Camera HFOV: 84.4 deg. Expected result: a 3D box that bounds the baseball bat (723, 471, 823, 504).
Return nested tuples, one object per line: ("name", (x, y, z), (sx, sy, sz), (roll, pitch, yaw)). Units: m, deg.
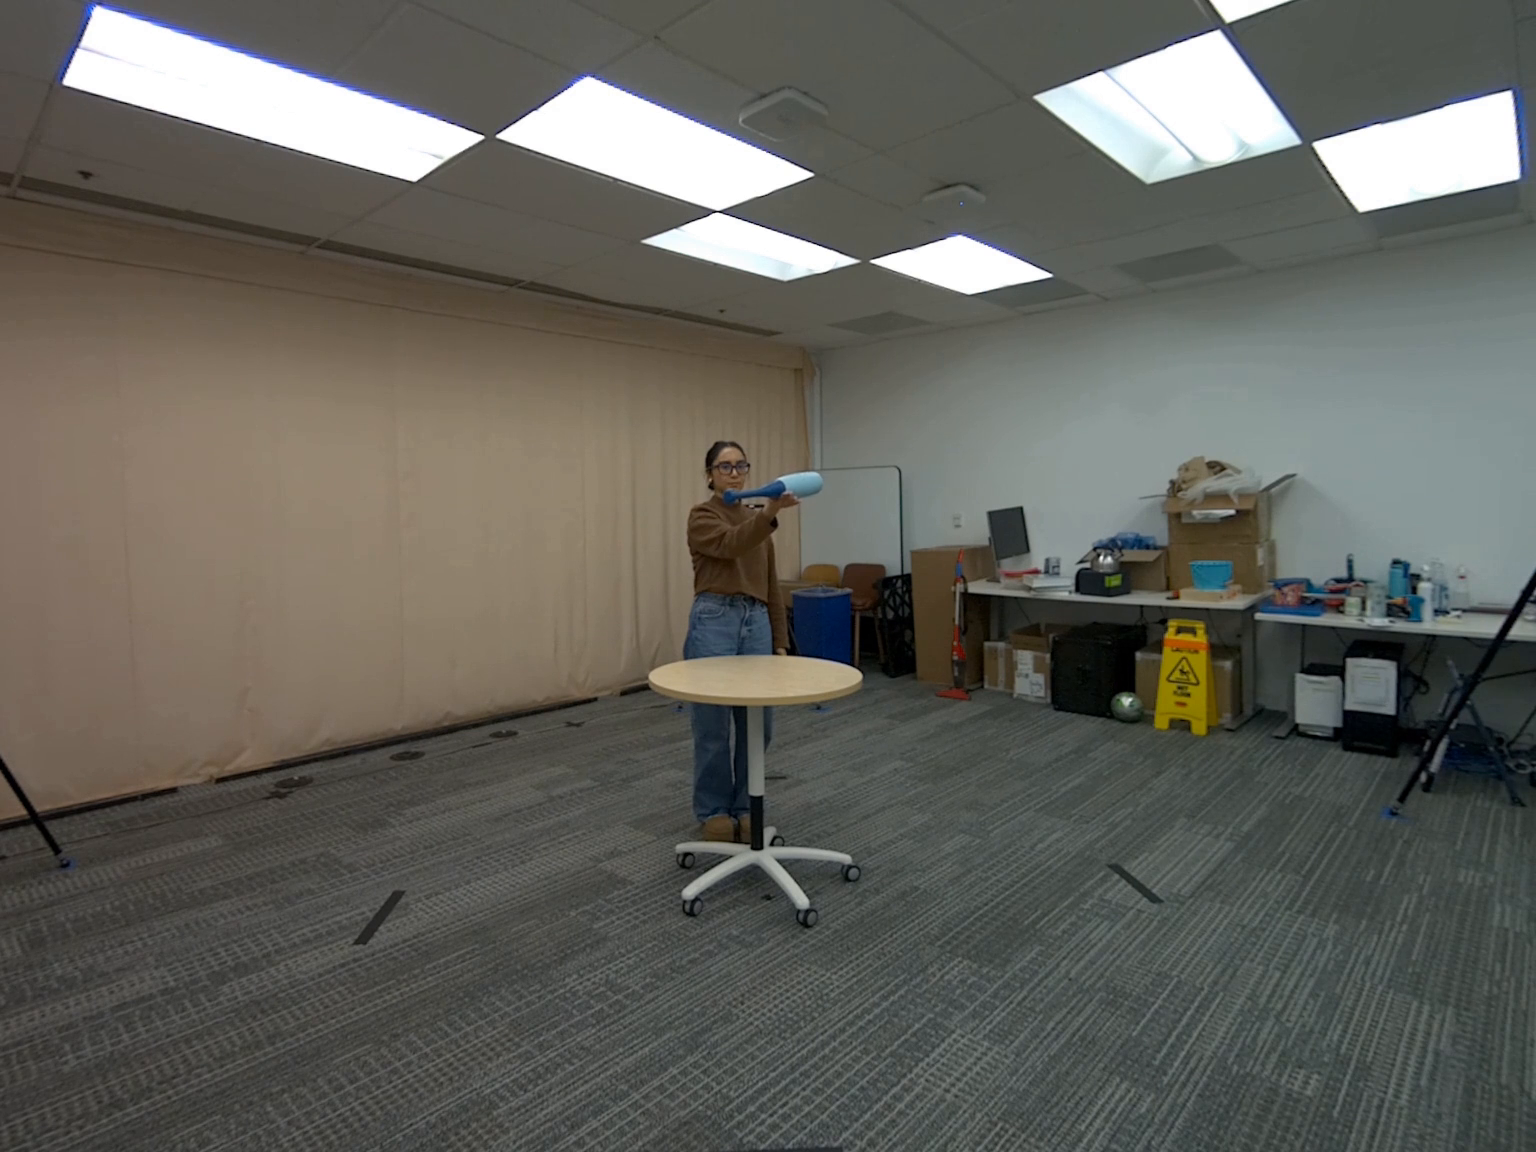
("baseball bat", (0.031, -0.303, 2.962), (0.092, 0.088, 0.529), (2, 11, 36))
